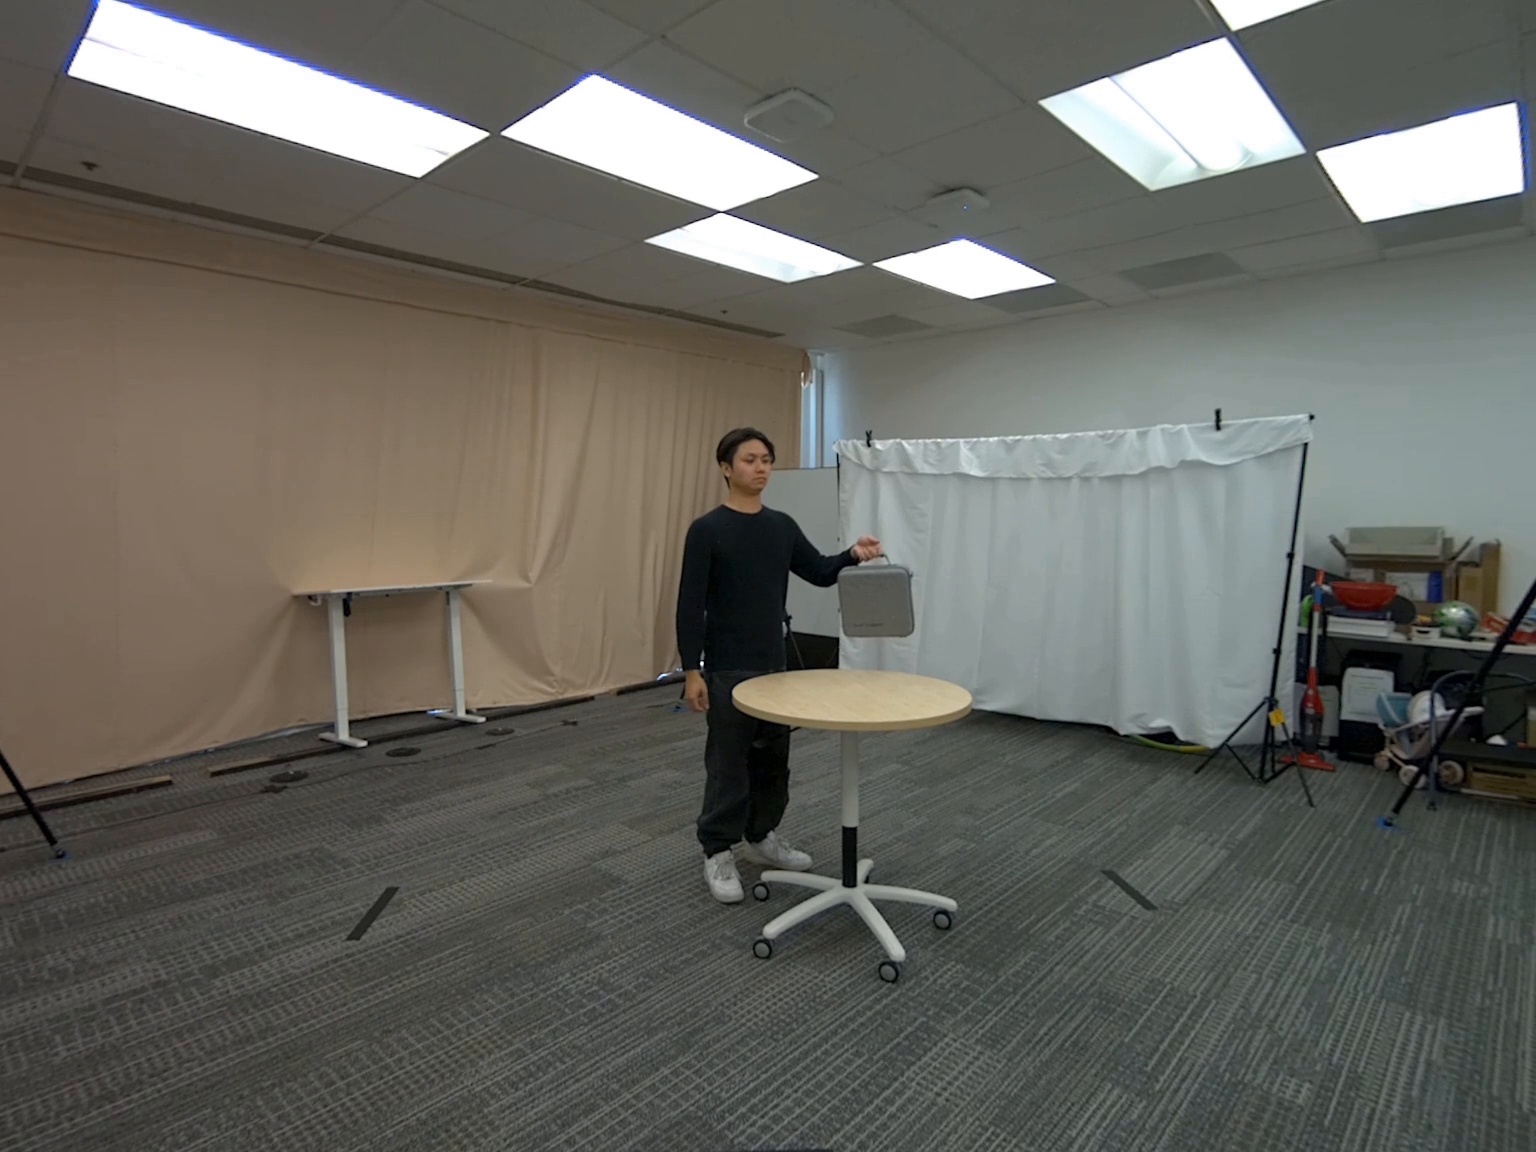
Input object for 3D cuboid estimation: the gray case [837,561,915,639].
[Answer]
[{"bbox_3d":[0.413,0.091,3.018,0.262,0.258,0.103,-2,12,22],"label":"gray case"}]
